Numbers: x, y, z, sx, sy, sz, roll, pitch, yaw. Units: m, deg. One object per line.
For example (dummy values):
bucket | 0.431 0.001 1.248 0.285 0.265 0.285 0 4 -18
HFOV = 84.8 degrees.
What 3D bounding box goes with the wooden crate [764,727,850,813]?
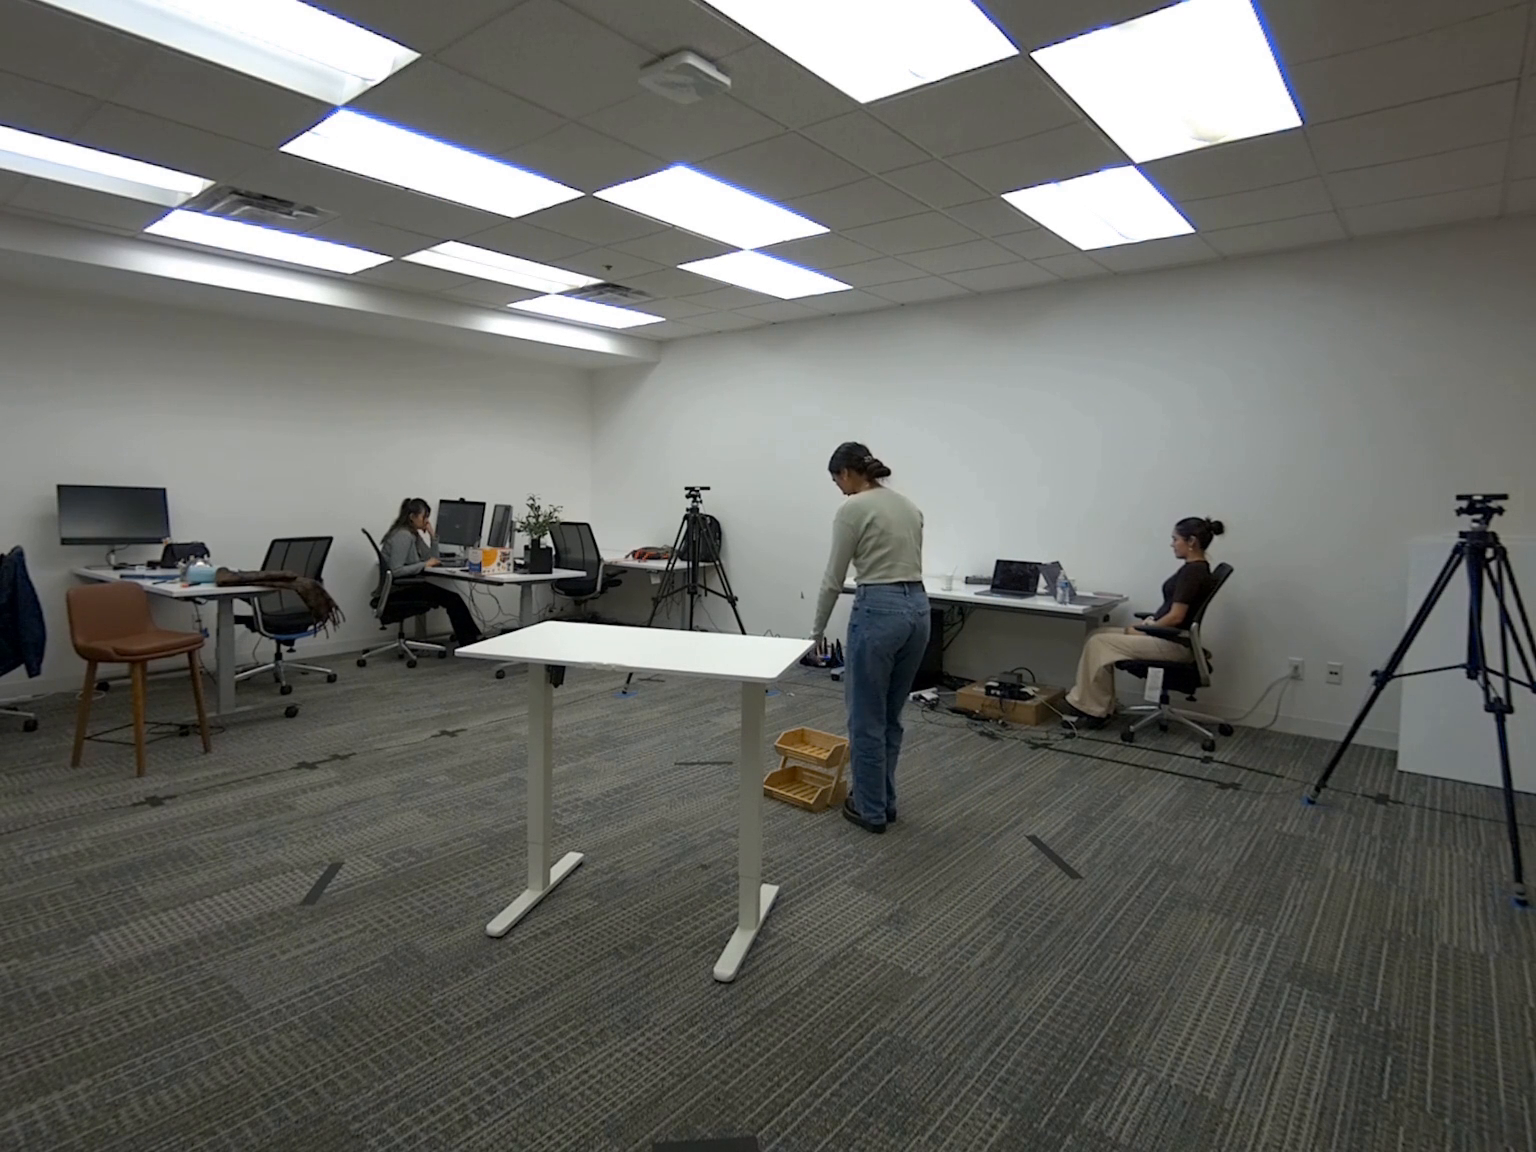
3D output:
wooden crate | 0.167 0.862 3.858 0.335 0.272 0.293 5 6 42
